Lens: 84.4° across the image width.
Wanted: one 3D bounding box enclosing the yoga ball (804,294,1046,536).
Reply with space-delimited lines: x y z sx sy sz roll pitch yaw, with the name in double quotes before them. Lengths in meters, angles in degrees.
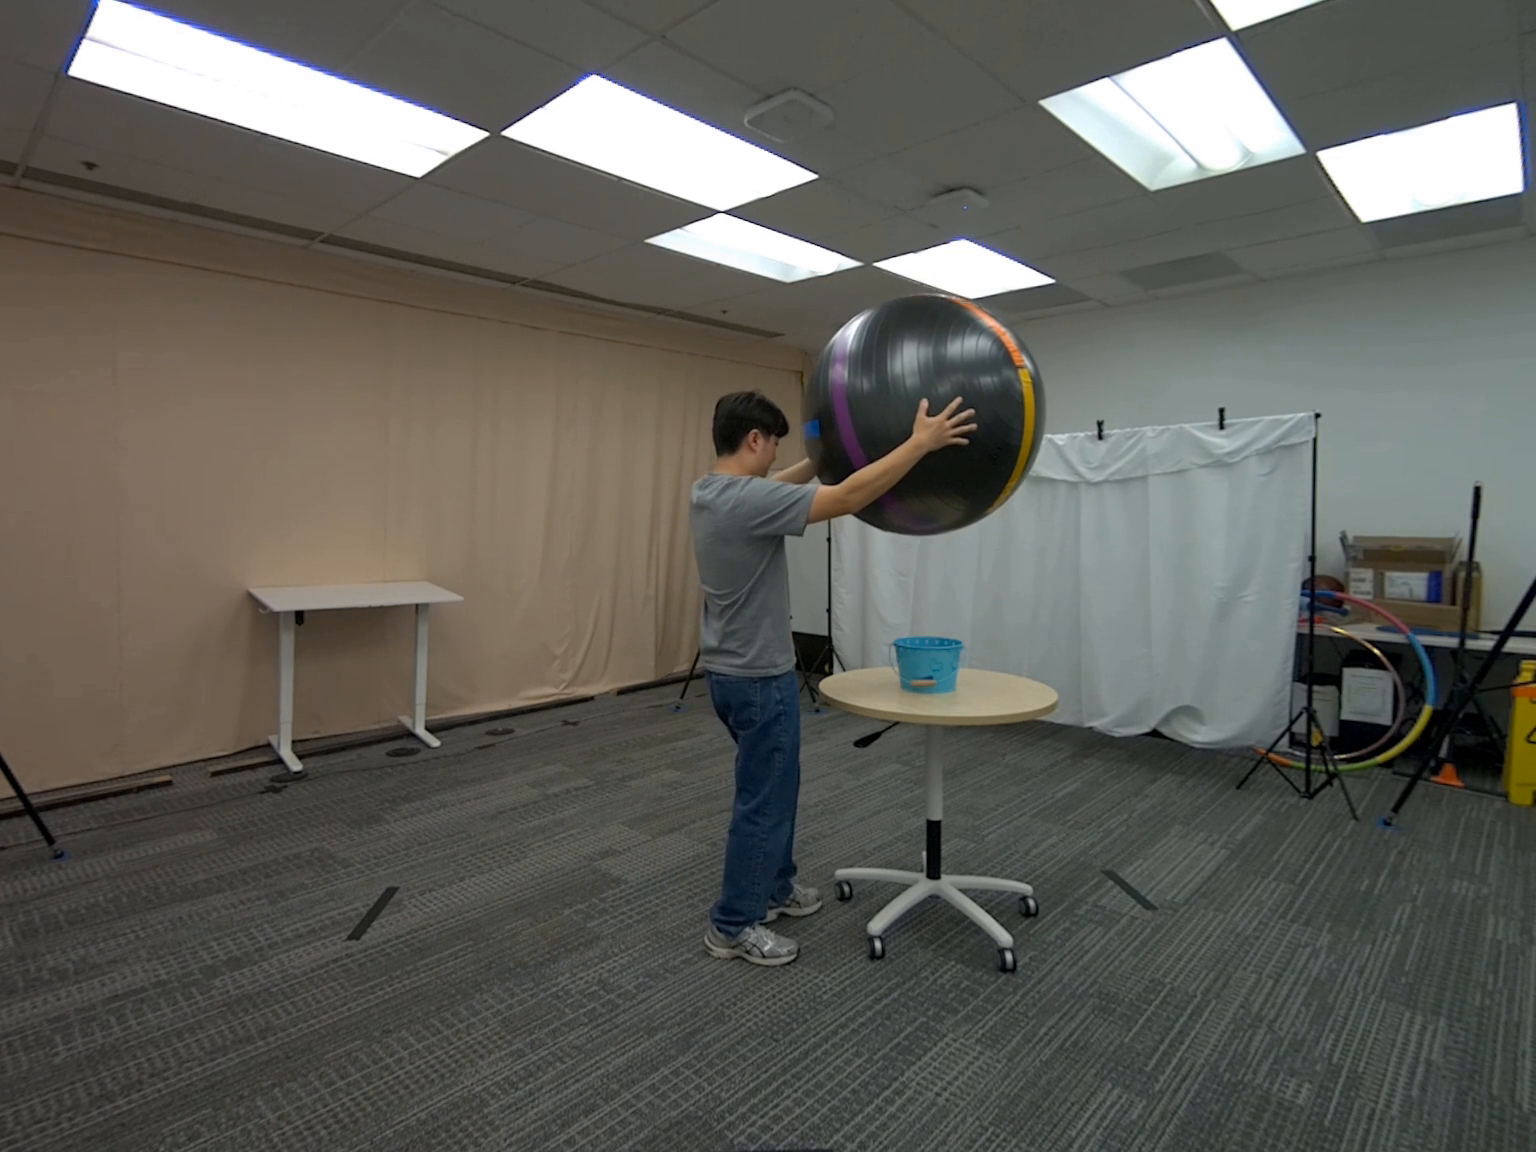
"yoga ball" 0.497 -0.492 2.710 0.757 0.756 0.760 0 4 -2
